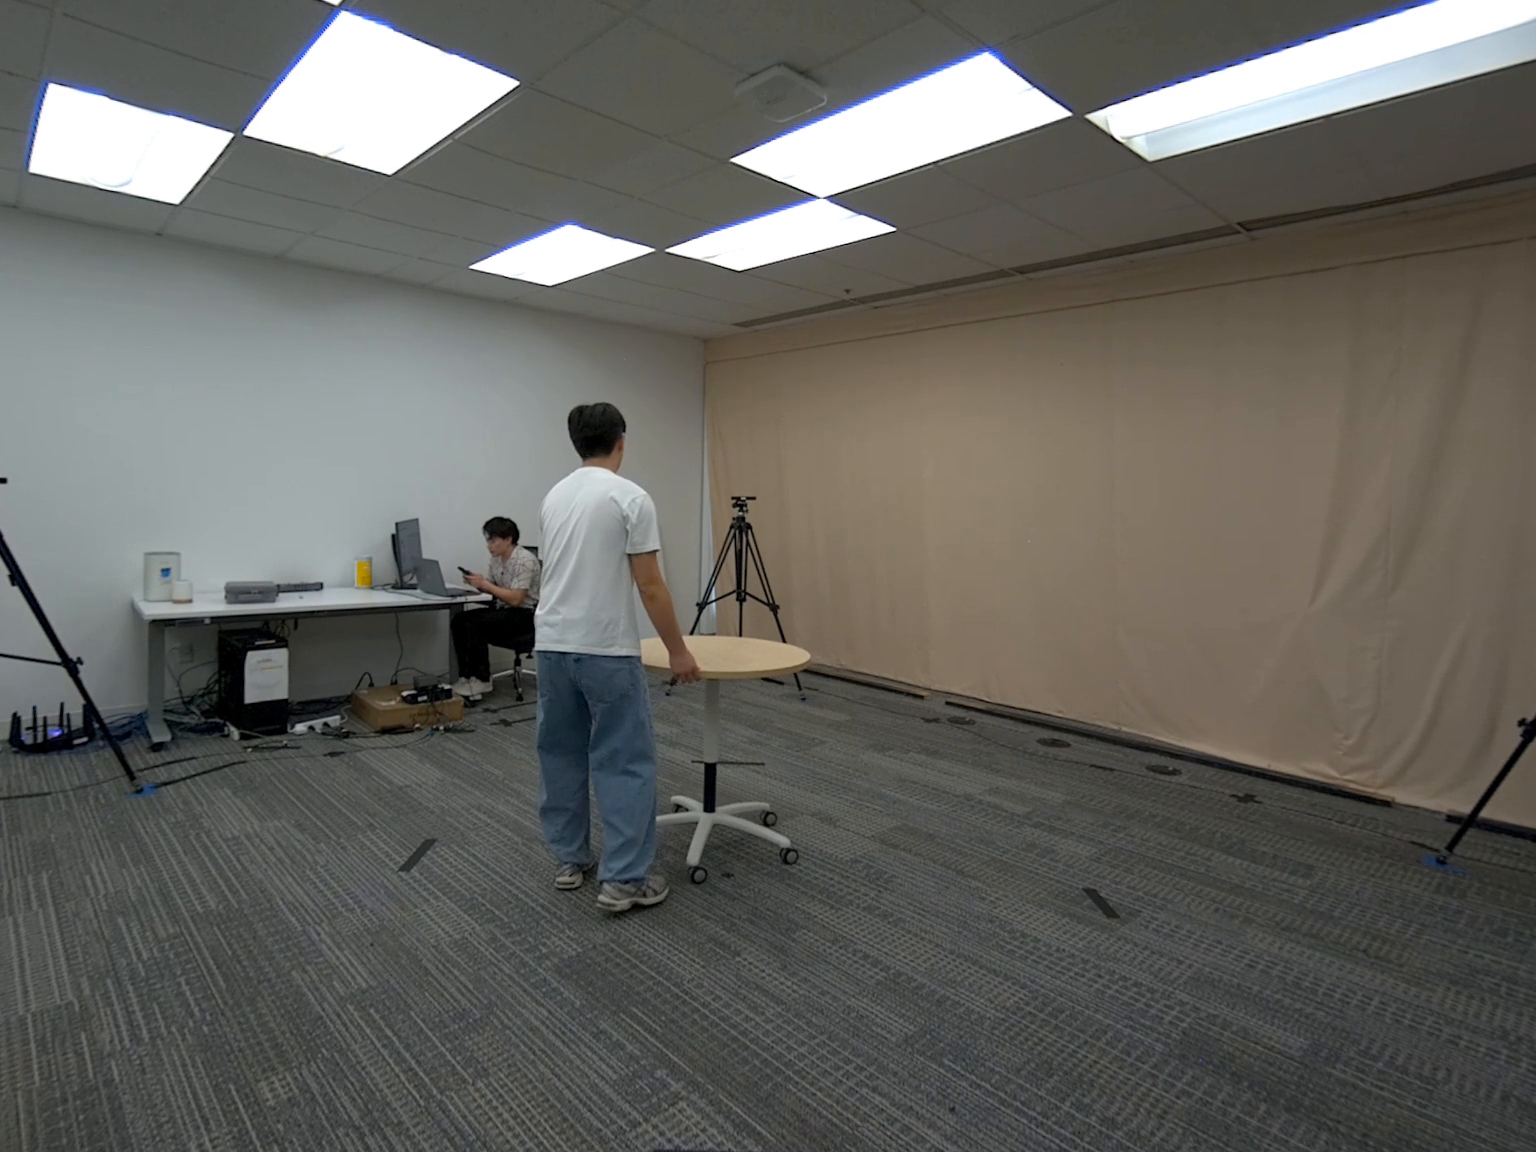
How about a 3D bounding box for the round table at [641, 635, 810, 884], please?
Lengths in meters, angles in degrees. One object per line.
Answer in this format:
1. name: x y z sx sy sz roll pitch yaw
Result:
1. round table: -0.225 0.693 3.347 0.763 0.792 0.766 2 4 -1
